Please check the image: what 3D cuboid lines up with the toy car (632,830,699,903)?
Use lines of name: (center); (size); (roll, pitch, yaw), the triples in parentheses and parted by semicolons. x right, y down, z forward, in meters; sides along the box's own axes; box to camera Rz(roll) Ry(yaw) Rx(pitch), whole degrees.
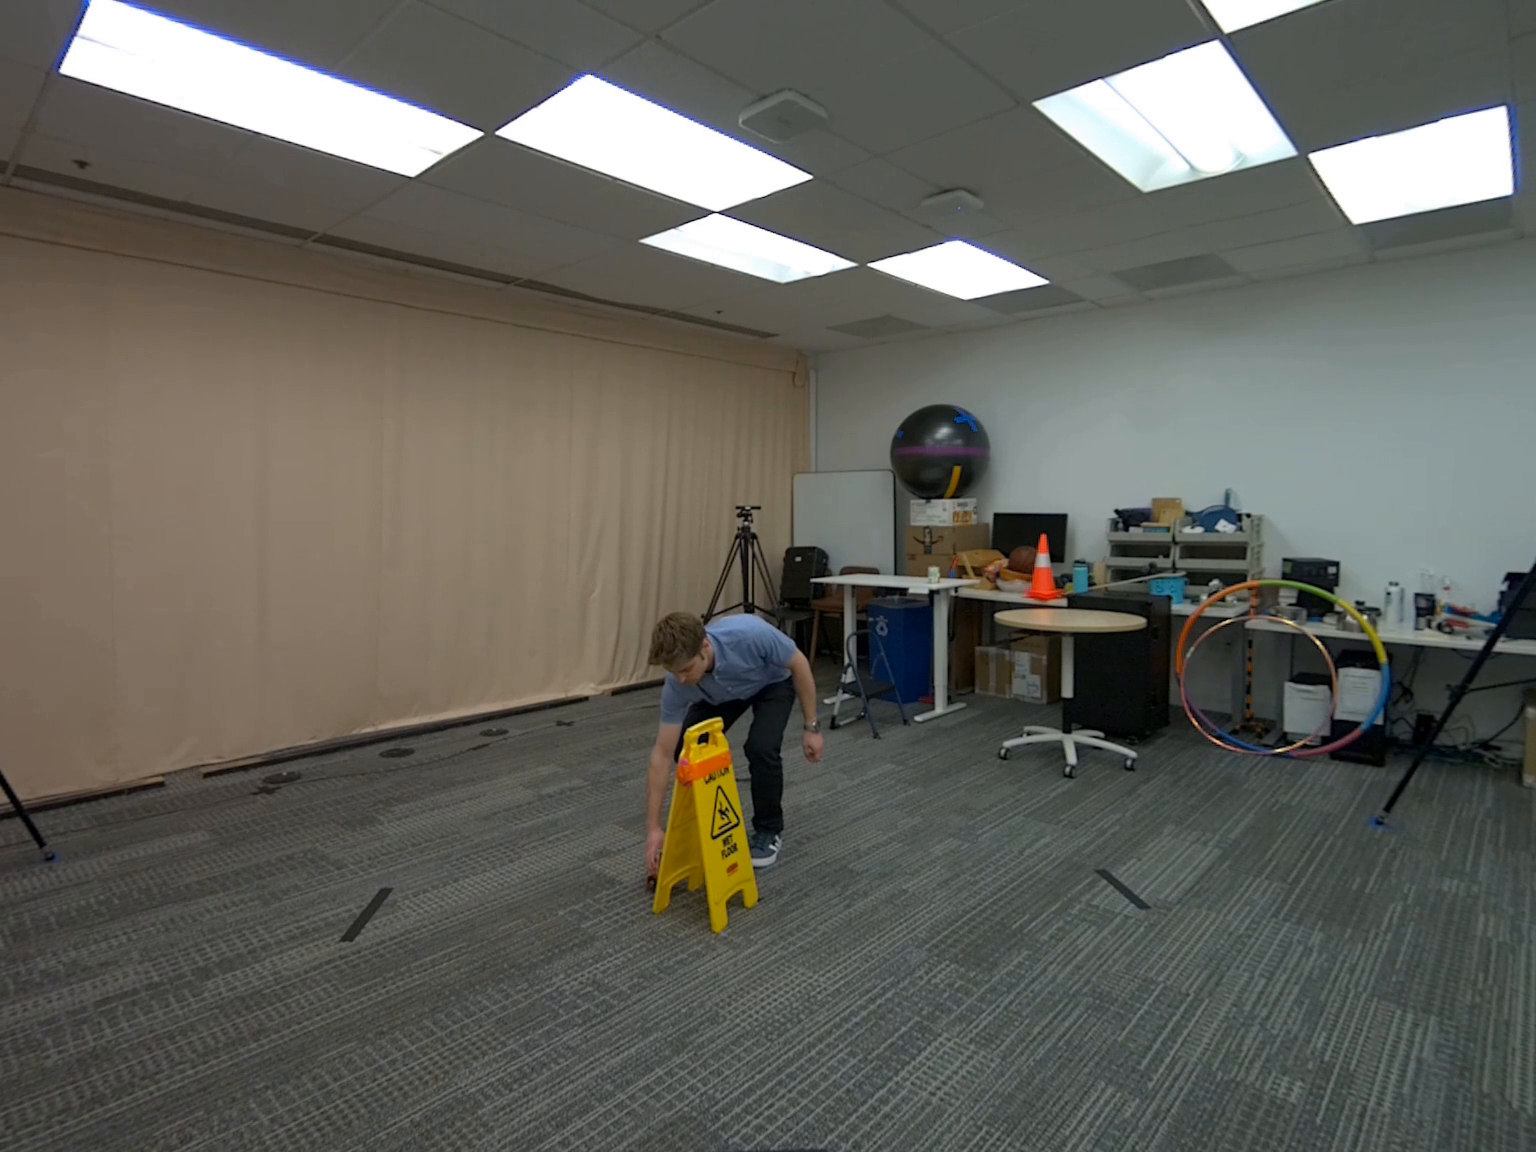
toy car: (-0.371, 1.040, 3.036); (0.085, 0.255, 0.127); (47, 38, 19)
